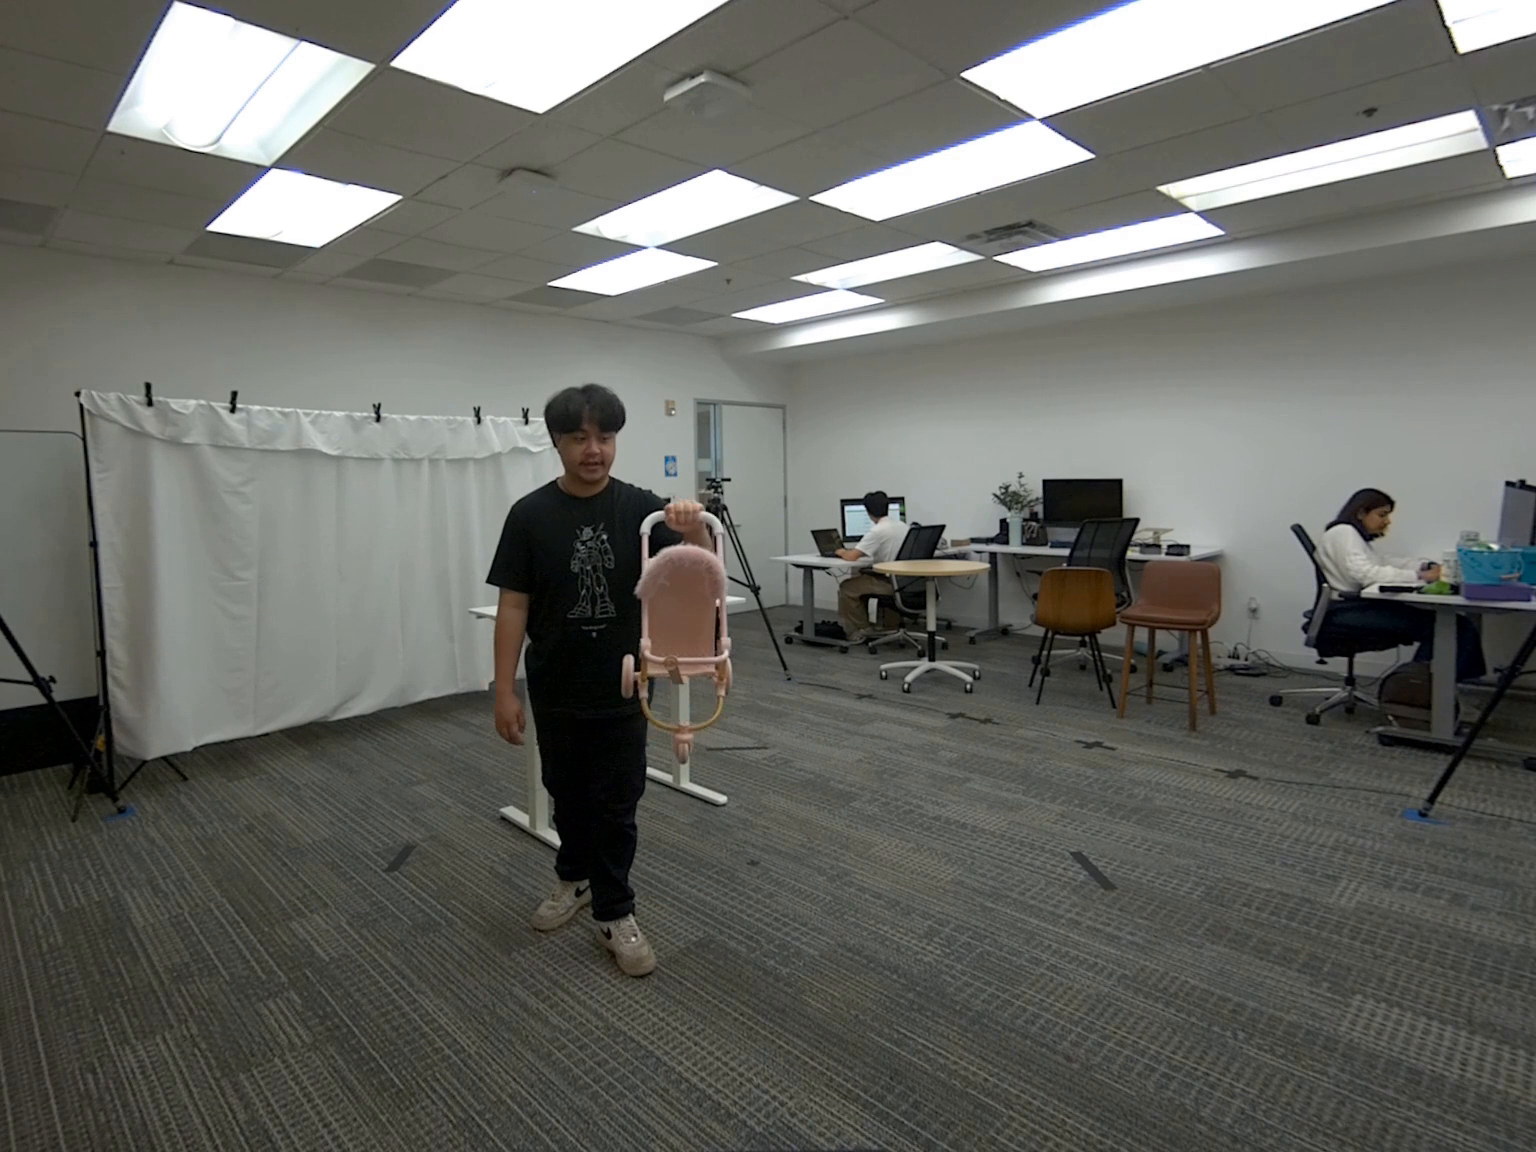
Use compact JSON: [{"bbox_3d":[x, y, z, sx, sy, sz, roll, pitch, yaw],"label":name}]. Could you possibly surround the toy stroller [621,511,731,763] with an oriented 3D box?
[{"bbox_3d":[-0.202,0.140,2.073,0.280,0.529,0.347,2,13,-7],"label":"toy stroller"}]
